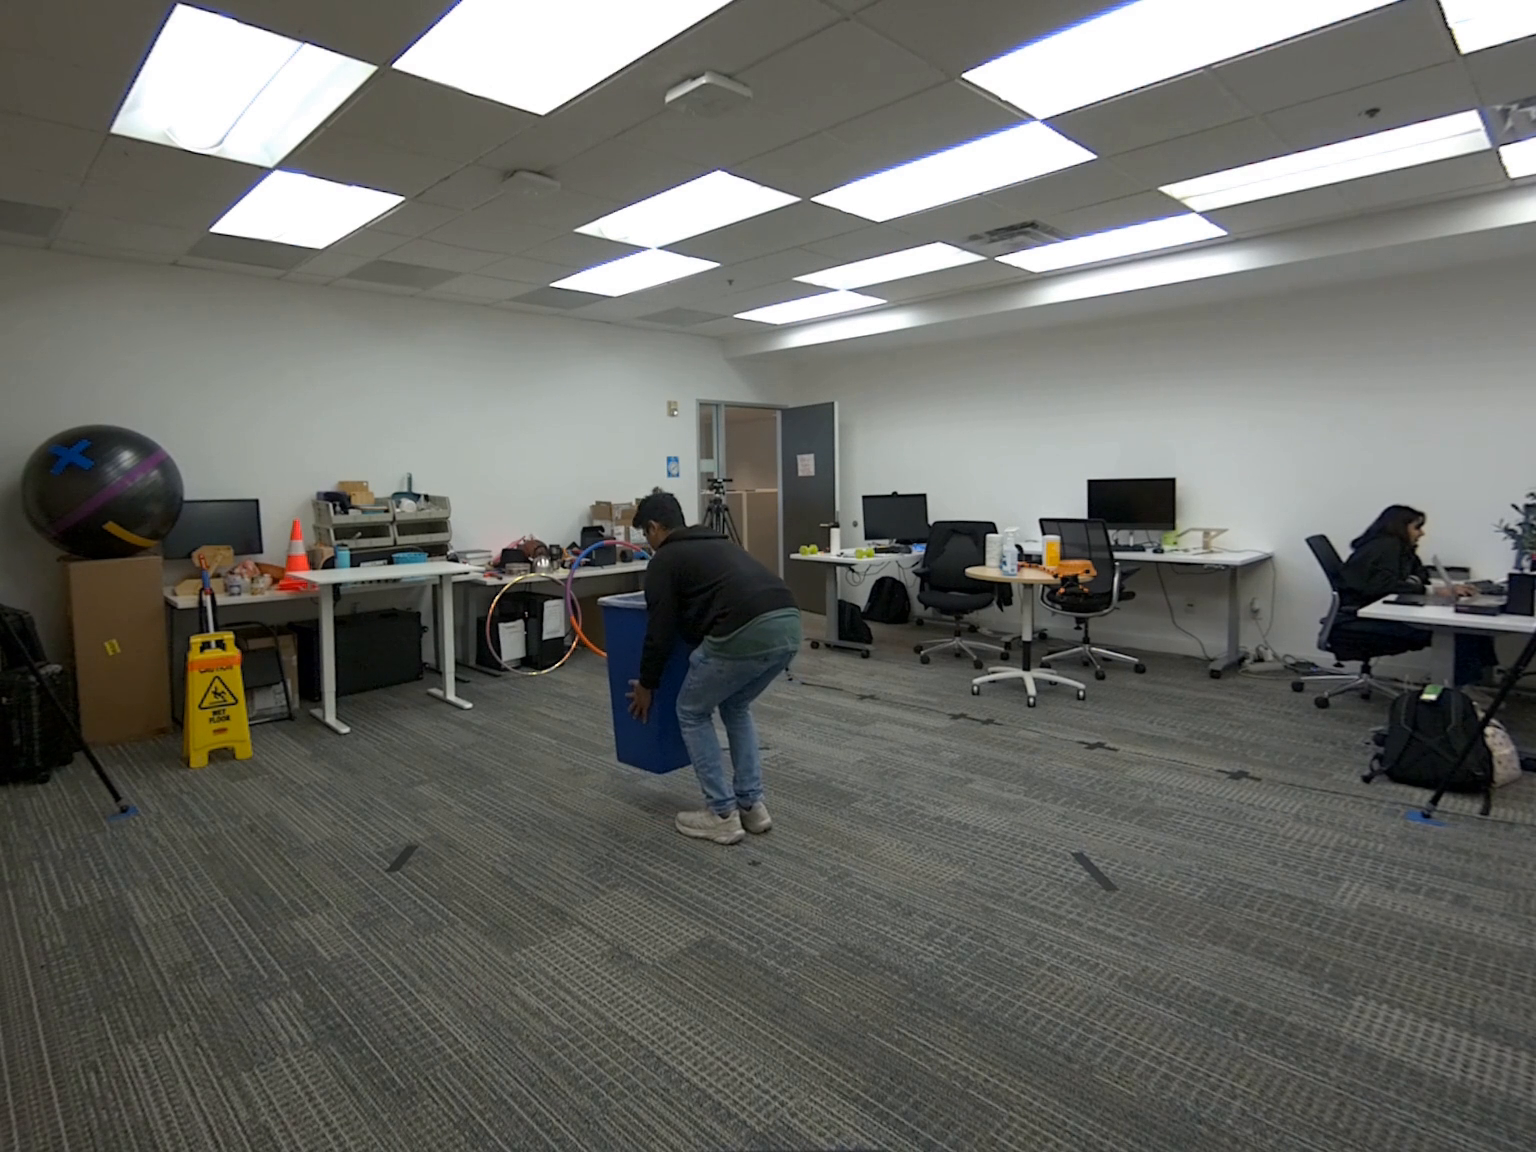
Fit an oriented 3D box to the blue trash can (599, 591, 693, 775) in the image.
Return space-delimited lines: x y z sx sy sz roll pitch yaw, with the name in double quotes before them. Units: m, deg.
"blue trash can" -0.477 0.439 3.701 0.385 0.711 0.368 1 5 44
